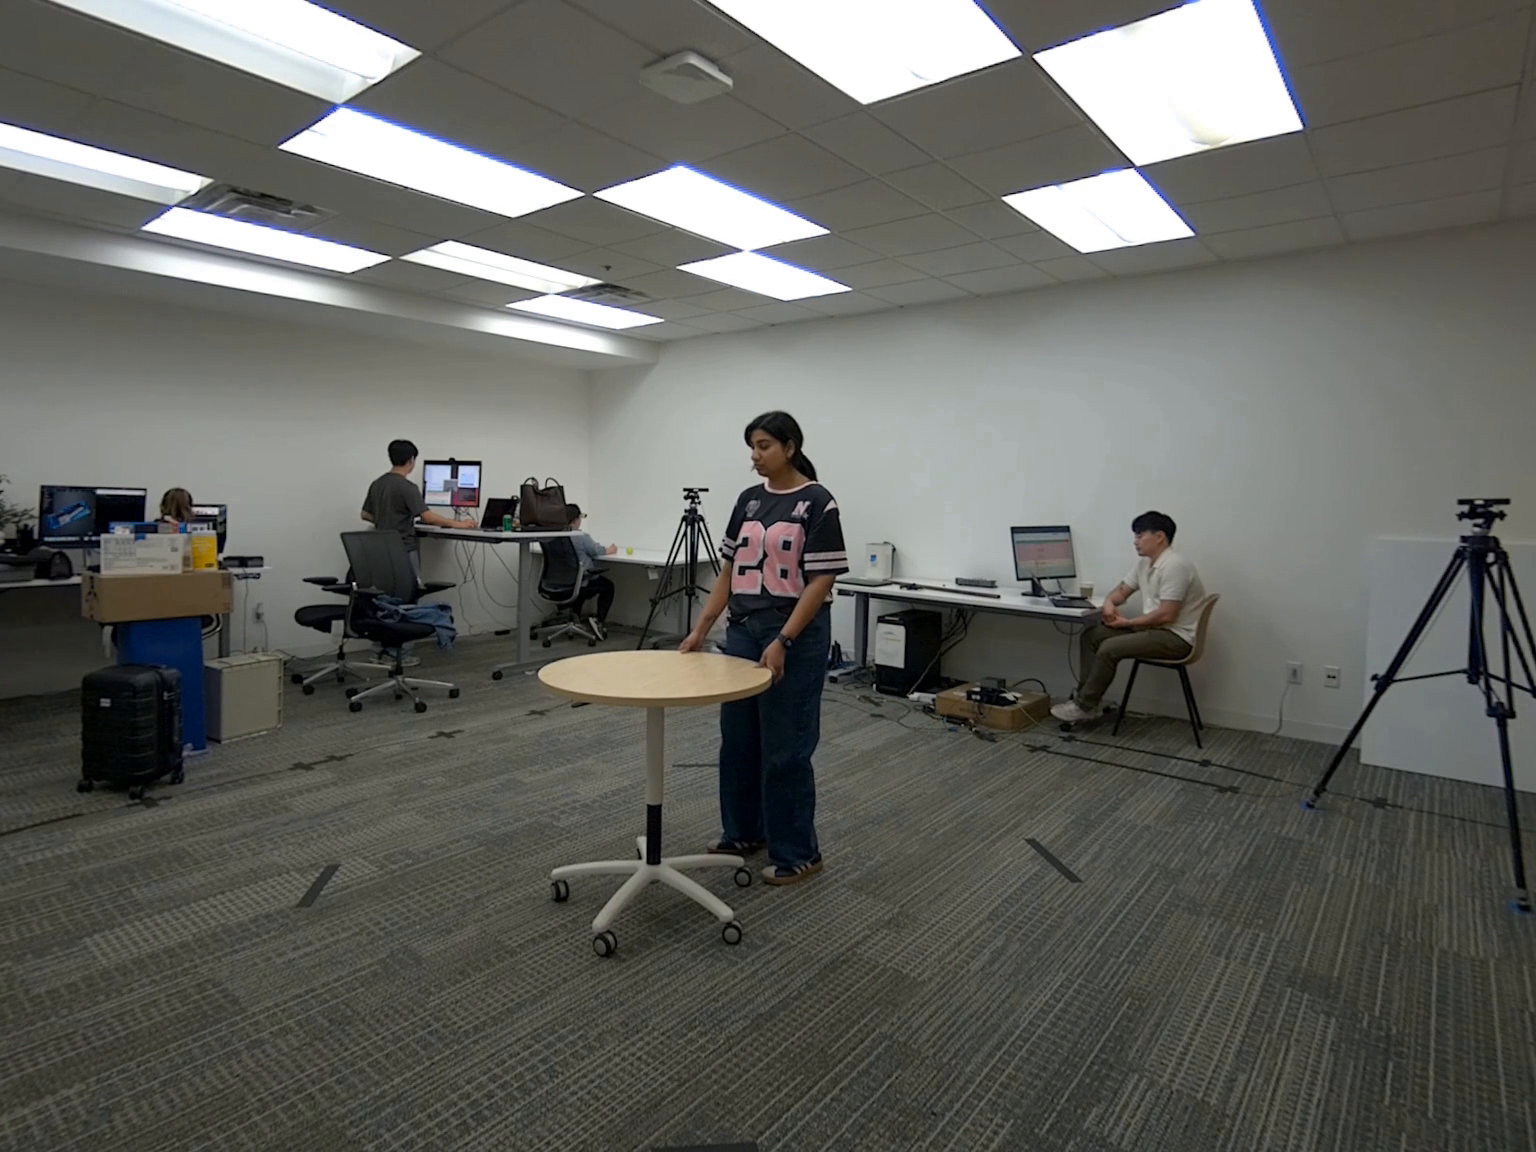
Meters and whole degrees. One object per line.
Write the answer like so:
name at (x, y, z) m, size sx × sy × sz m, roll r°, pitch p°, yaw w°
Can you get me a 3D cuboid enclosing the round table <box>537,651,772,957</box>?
round table at (-0.372, 0.699, 2.822) m, size 0.784 × 0.784 × 0.789 m, roll 0°, pitch 4°, yaw -2°
